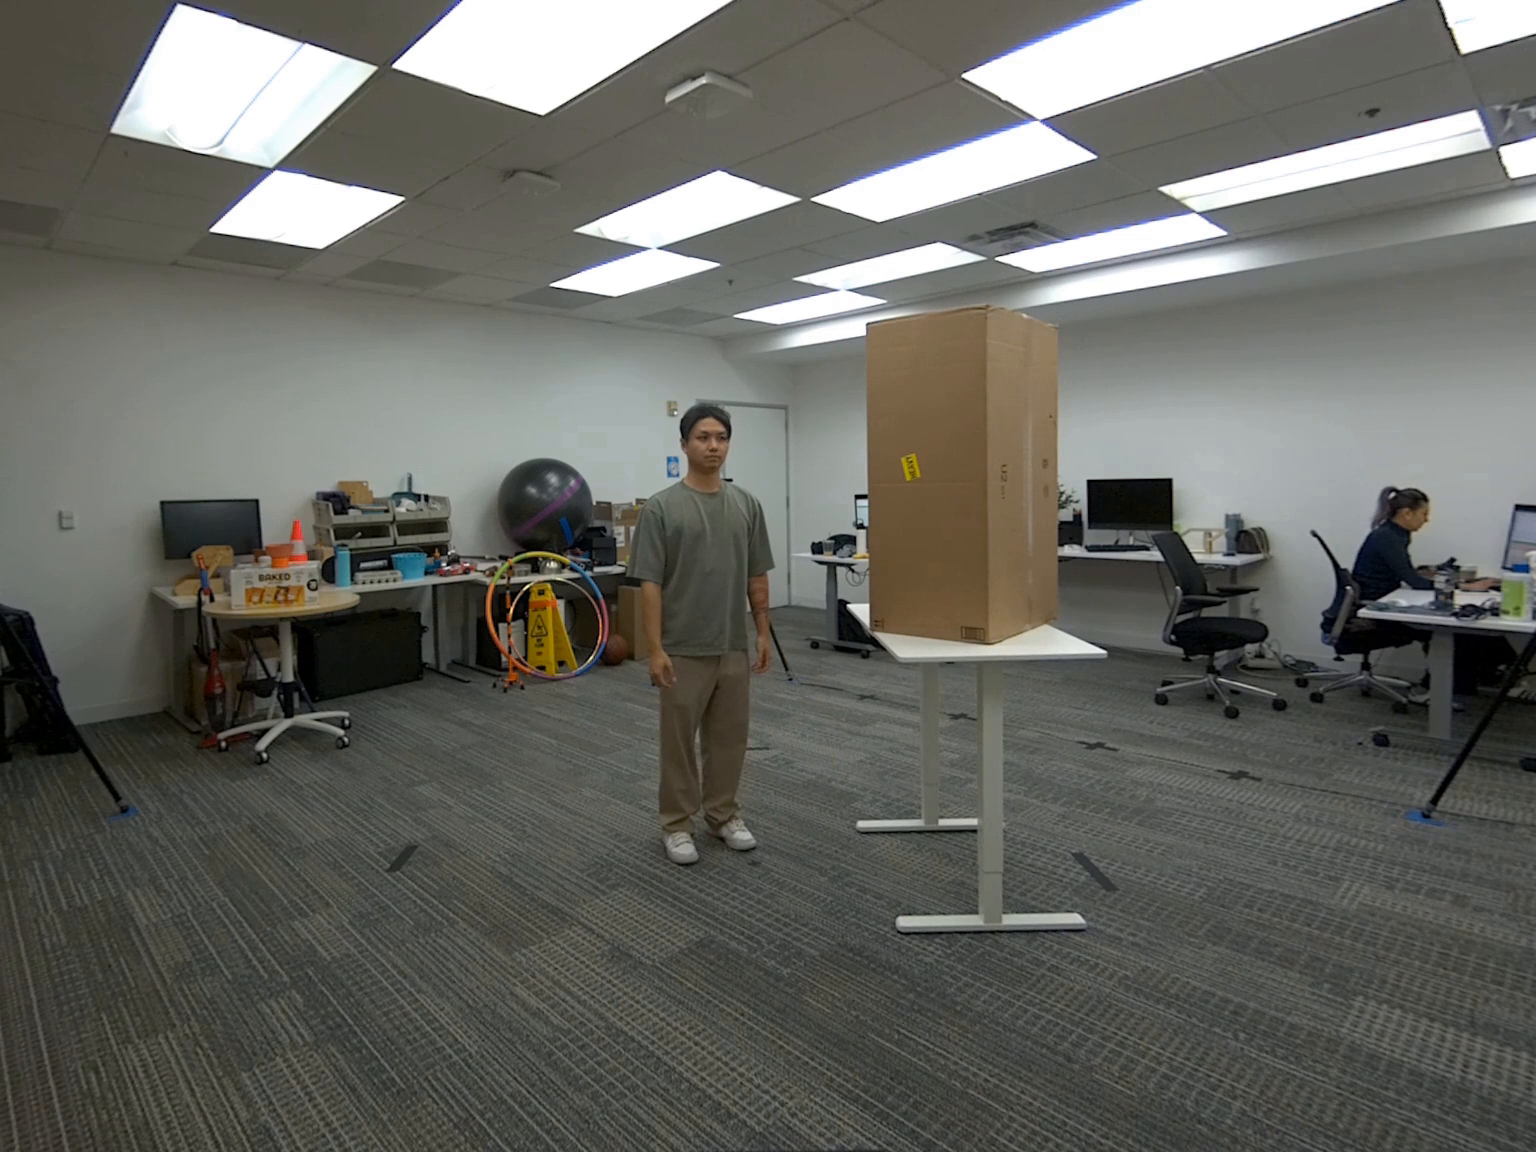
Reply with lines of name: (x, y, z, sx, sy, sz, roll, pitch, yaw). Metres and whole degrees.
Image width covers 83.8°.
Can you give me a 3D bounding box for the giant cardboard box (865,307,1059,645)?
giant cardboard box: (0.672, -0.338, 2.902, 0.439, 1.022, 0.563, 2, 6, 40)
